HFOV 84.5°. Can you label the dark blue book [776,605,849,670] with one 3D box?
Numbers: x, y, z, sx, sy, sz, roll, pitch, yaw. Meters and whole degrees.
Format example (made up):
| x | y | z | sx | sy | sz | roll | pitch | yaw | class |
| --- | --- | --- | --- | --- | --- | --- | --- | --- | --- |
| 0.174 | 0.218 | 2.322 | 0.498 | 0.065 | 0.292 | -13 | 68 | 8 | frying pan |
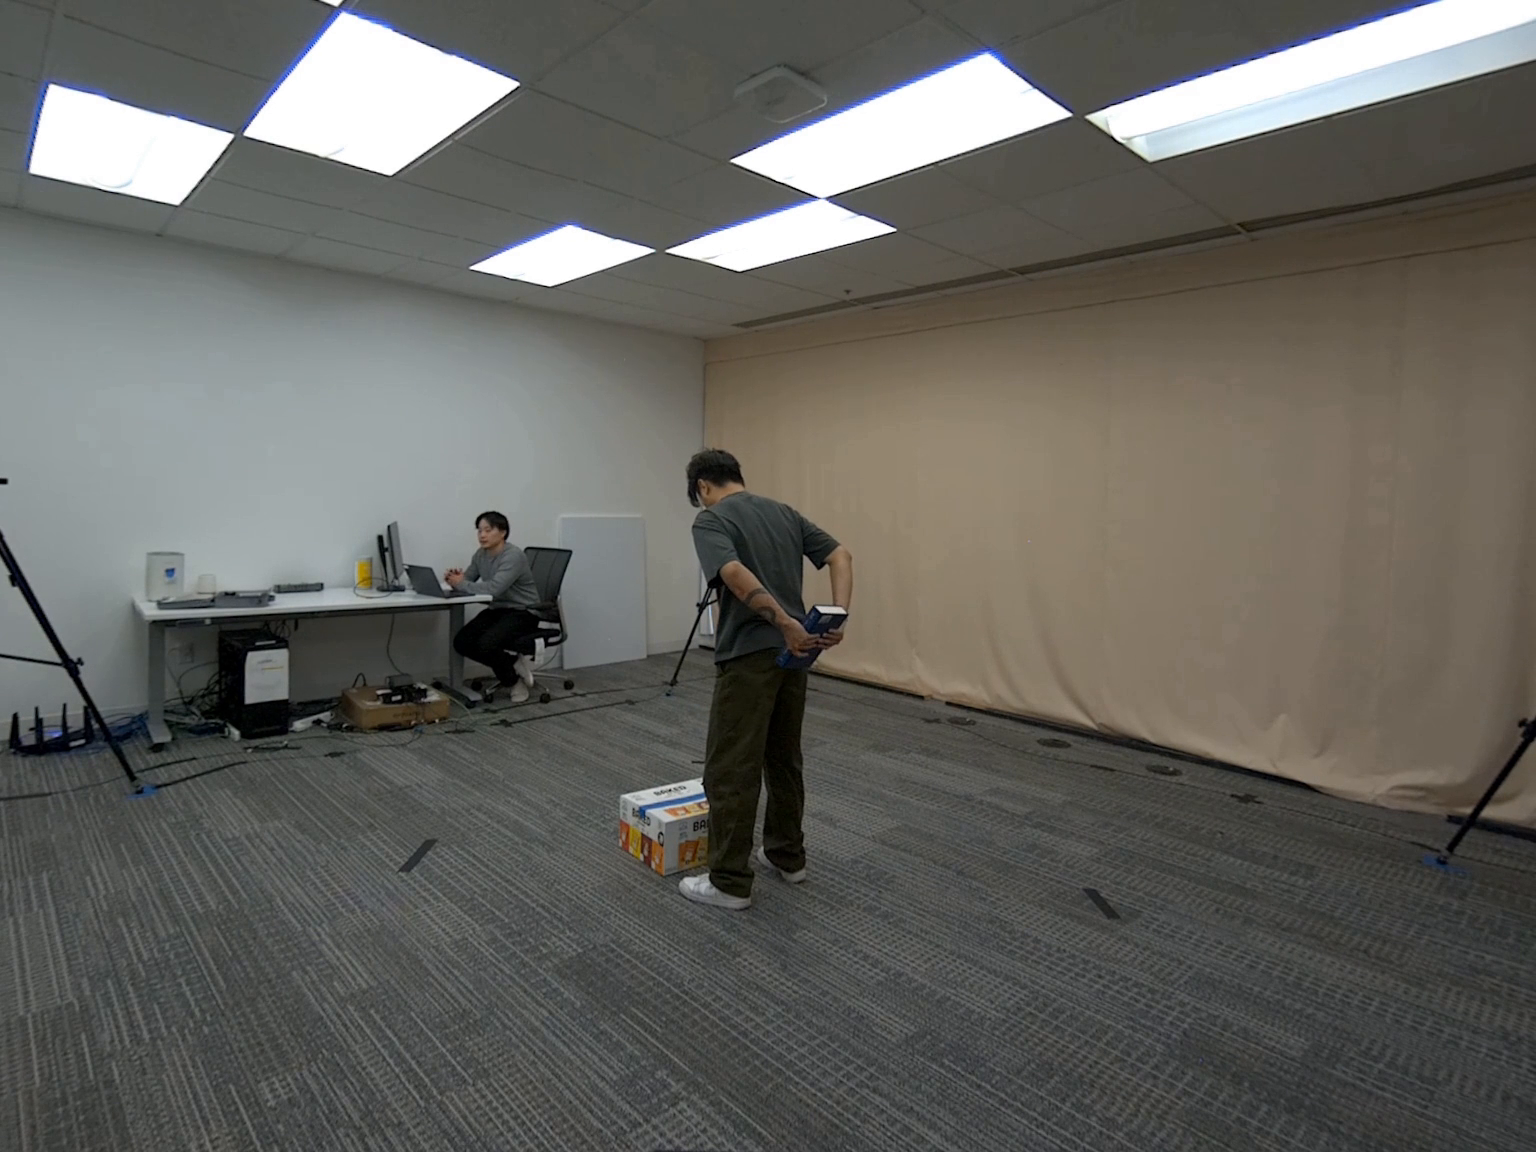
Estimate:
| x | y | z | sx | sy | sz | roll | pitch | yaw | class |
| --- | --- | --- | --- | --- | --- | --- | --- | --- | --- |
| 0.134 | 0.201 | 2.804 | 0.159 | 0.244 | 0.046 | 7 | 33 | -50 | dark blue book |
